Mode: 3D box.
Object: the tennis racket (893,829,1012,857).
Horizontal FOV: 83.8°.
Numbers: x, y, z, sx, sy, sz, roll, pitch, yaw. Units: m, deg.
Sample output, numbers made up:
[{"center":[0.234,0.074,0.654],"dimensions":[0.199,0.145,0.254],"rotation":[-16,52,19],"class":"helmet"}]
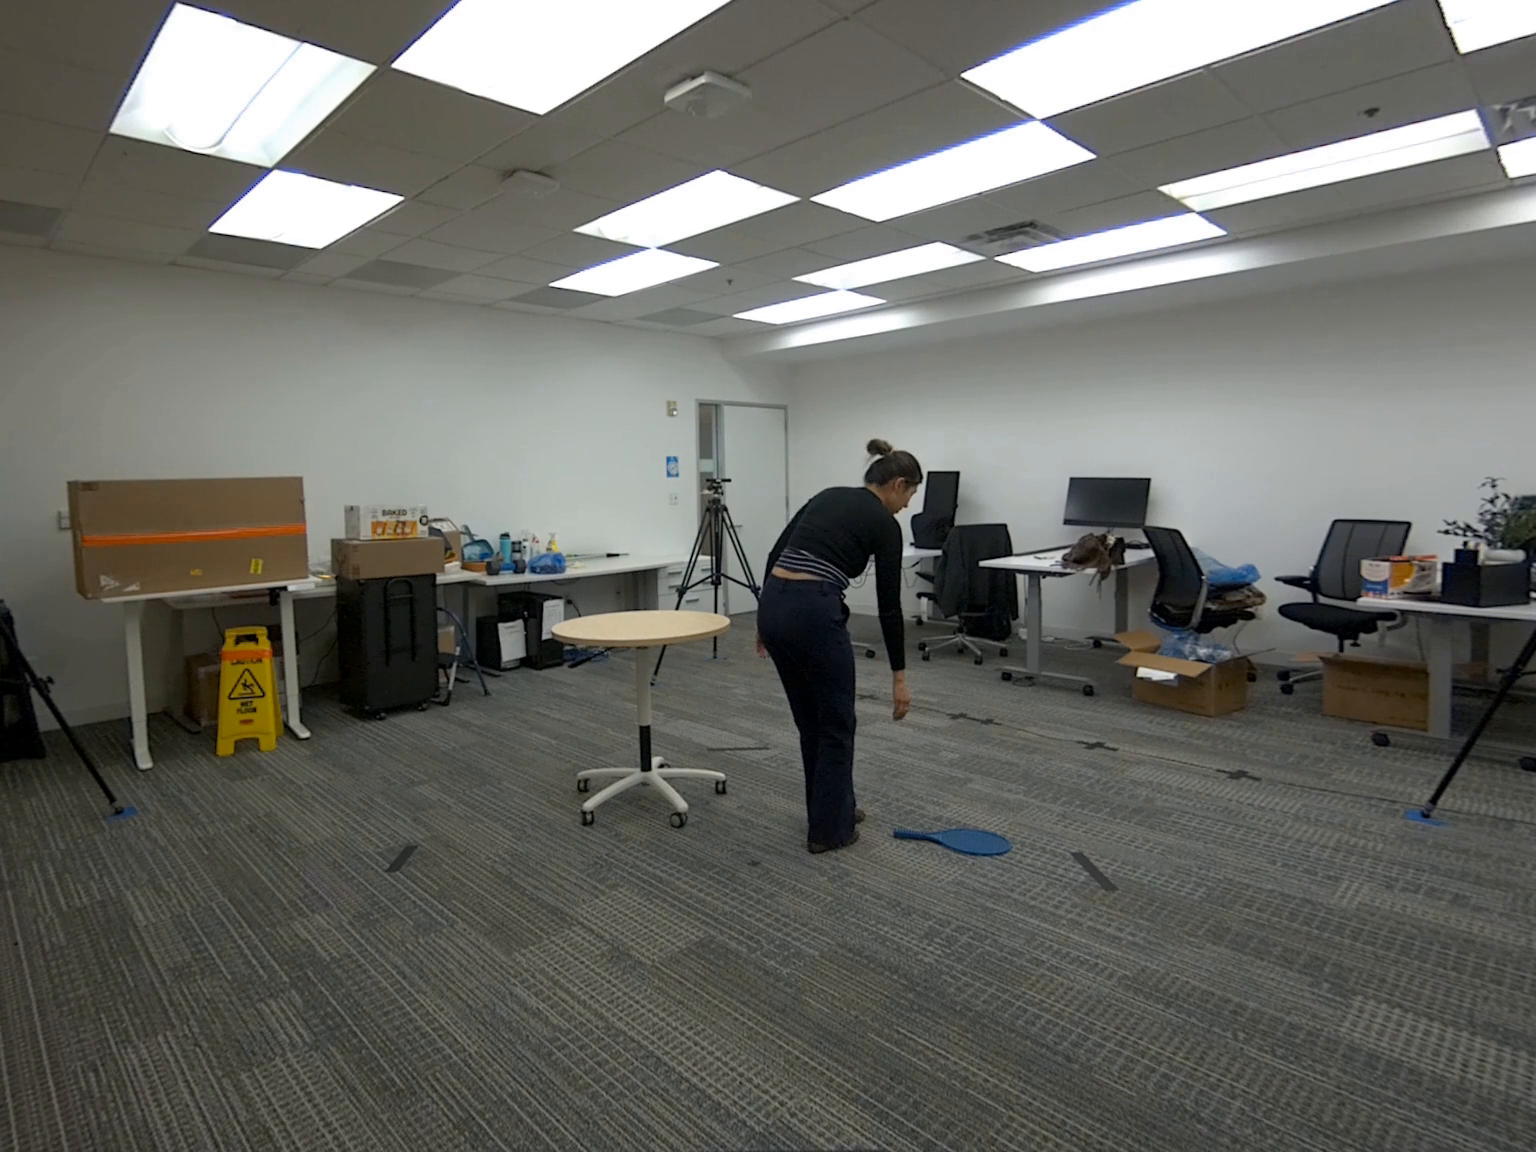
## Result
[{"center":[0.697,0.999,3.249],"dimensions":[0.438,0.031,0.212],"rotation":[2,7,12],"class":"tennis racket"}]
